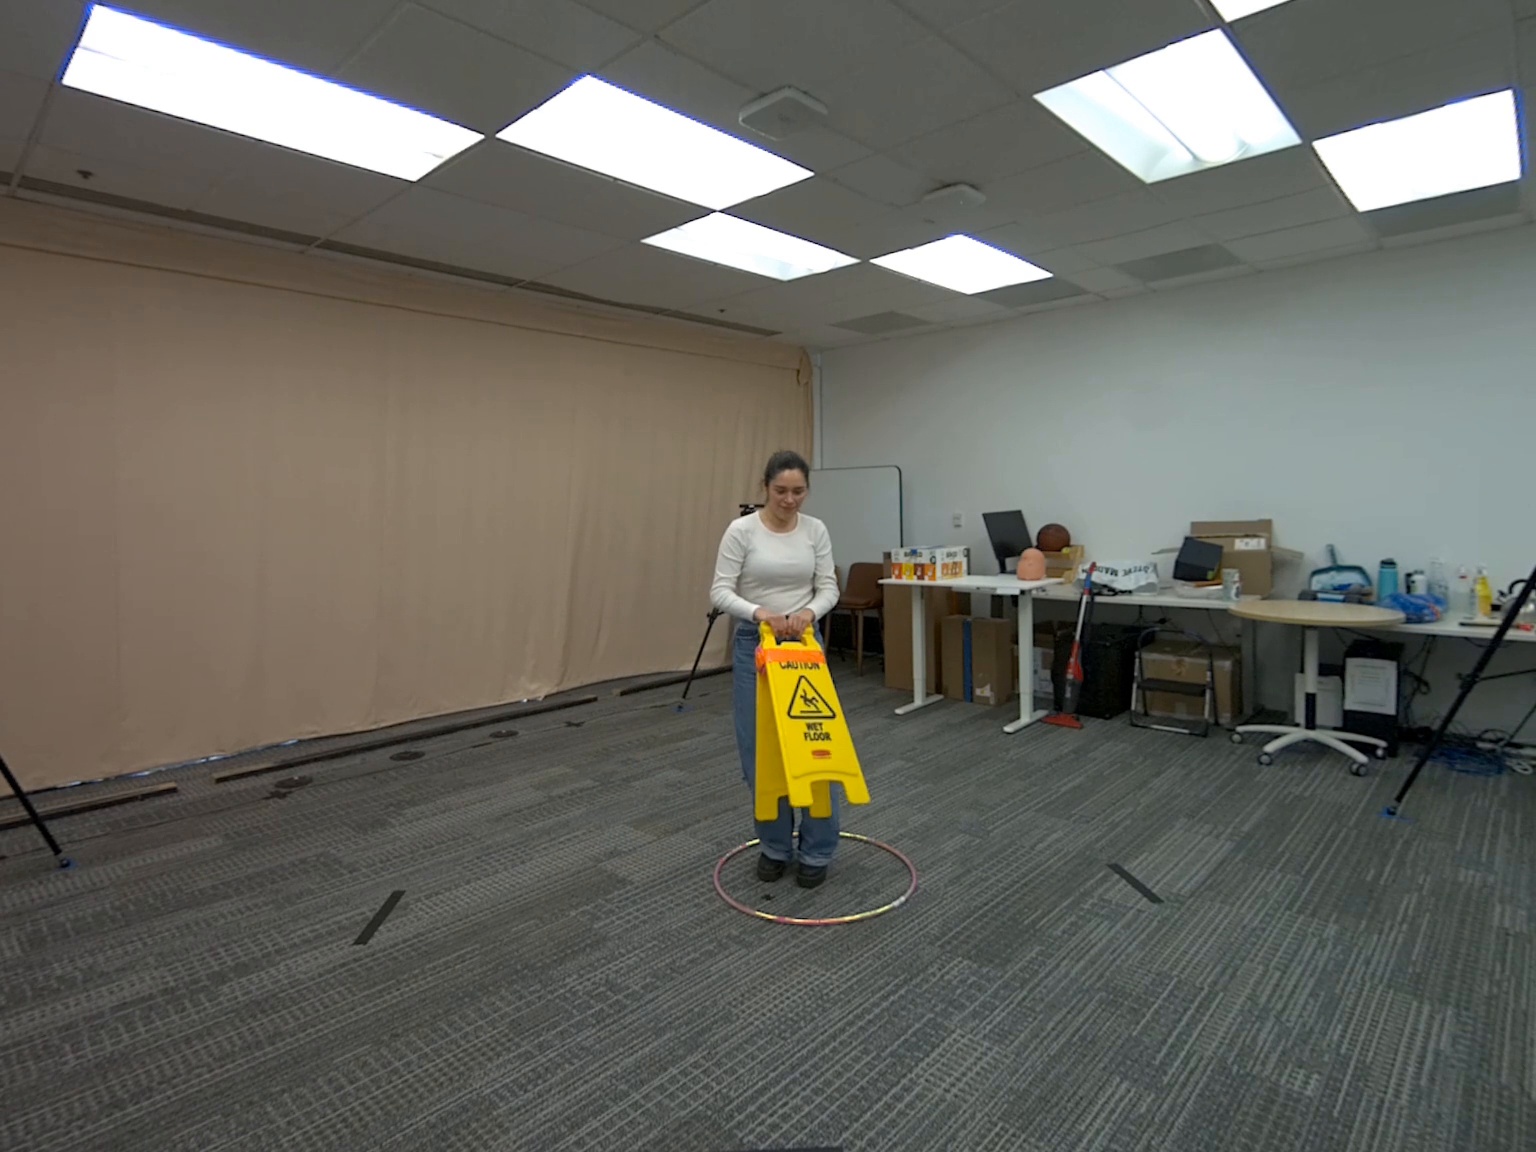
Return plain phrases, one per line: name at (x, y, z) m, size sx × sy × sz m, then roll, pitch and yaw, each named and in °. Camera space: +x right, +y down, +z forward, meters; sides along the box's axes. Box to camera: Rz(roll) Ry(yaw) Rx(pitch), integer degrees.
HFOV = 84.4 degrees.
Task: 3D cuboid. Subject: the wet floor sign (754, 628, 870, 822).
wet floor sign at (0.083, 0.444, 2.826) m, size 0.276 × 0.657 × 0.291 m, roll 2°, pitch -26°, yaw -23°
